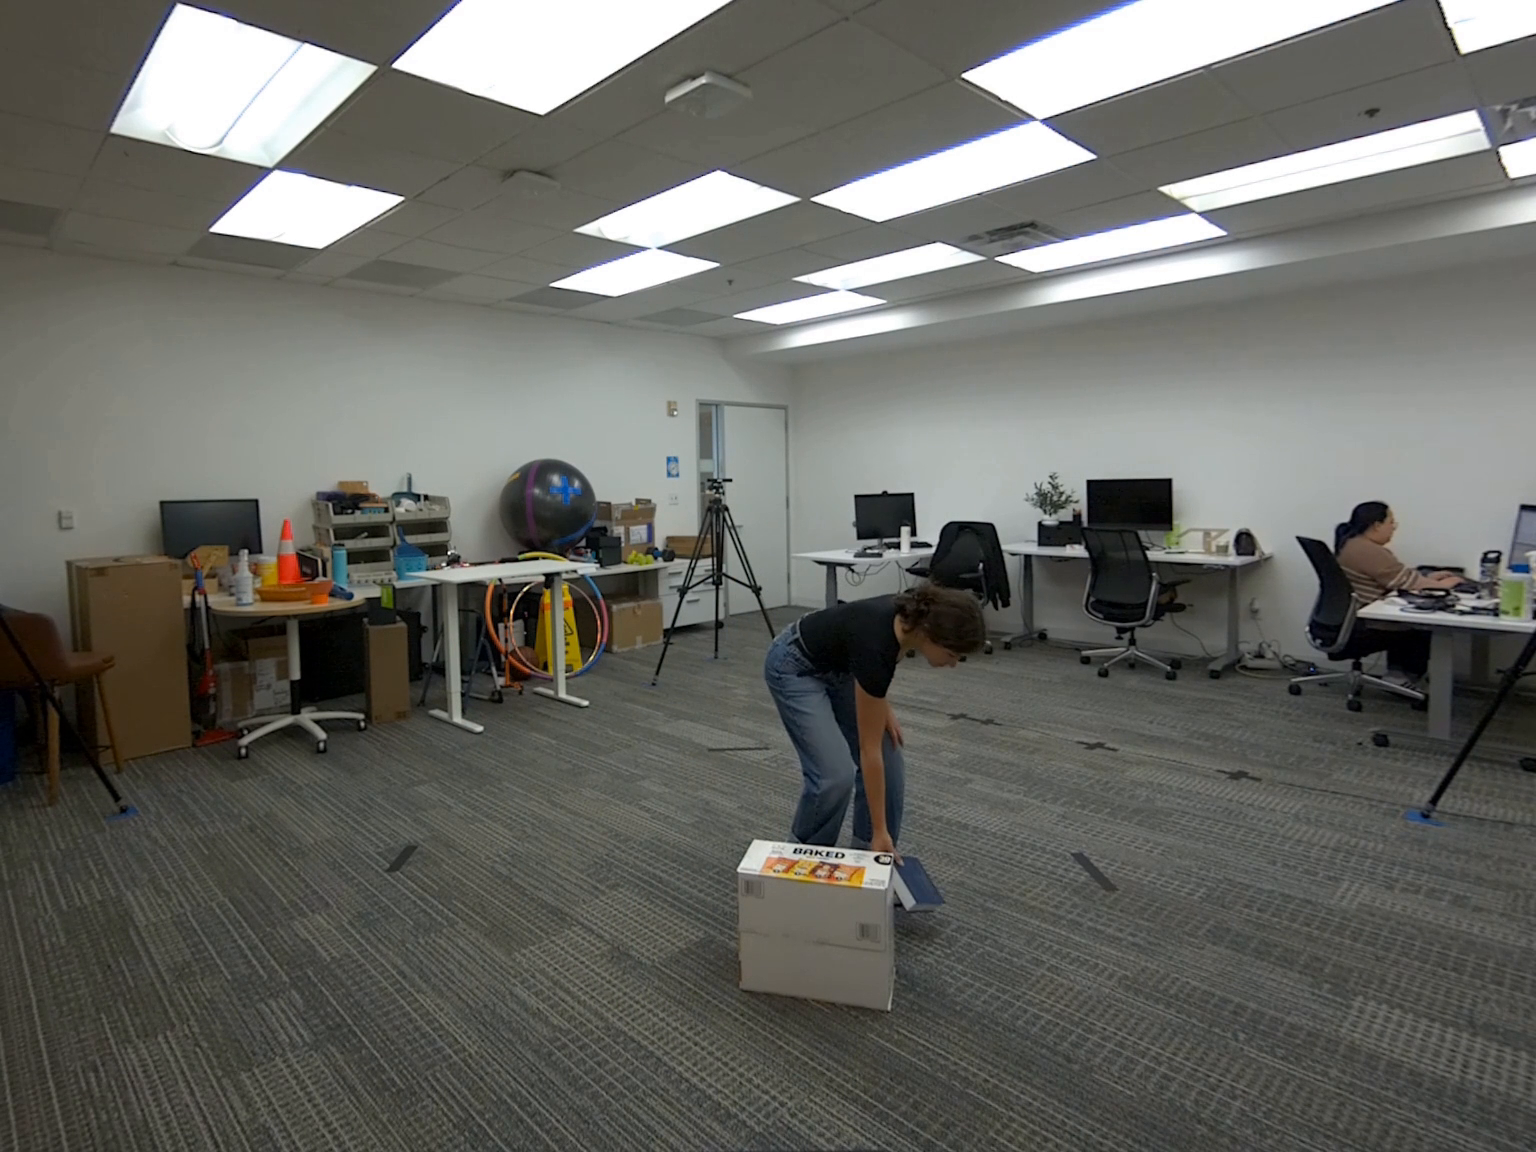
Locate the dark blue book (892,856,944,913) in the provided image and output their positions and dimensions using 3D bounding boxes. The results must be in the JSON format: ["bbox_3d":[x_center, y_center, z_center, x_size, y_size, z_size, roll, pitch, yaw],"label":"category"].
[{"bbox_3d":[0.450,0.942,2.608,0.045,0.169,0.236,-39,-34,13],"label":"dark blue book"}]
